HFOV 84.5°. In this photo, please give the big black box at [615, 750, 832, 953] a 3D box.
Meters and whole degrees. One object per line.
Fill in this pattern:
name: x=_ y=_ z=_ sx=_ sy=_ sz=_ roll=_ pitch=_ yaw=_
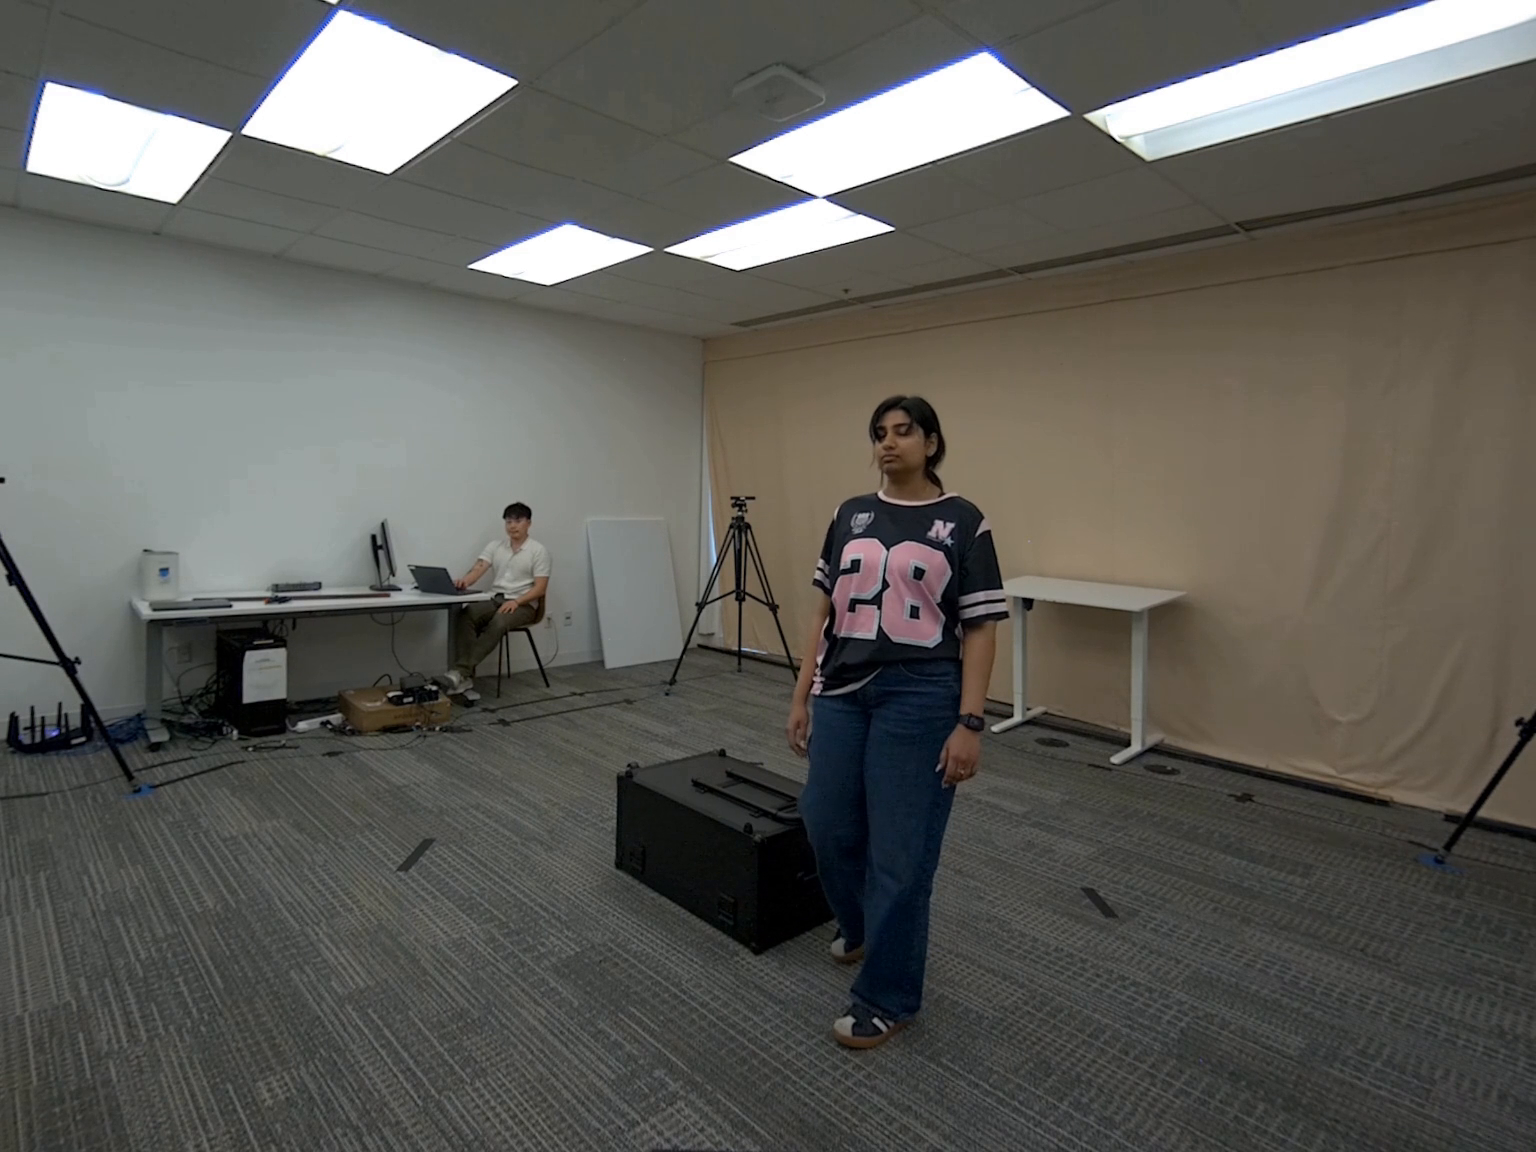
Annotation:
big black box: x=-0.163 y=0.927 z=3.022 sx=0.512 sy=0.384 sz=0.891 roll=-4 pitch=7 yaw=-42
